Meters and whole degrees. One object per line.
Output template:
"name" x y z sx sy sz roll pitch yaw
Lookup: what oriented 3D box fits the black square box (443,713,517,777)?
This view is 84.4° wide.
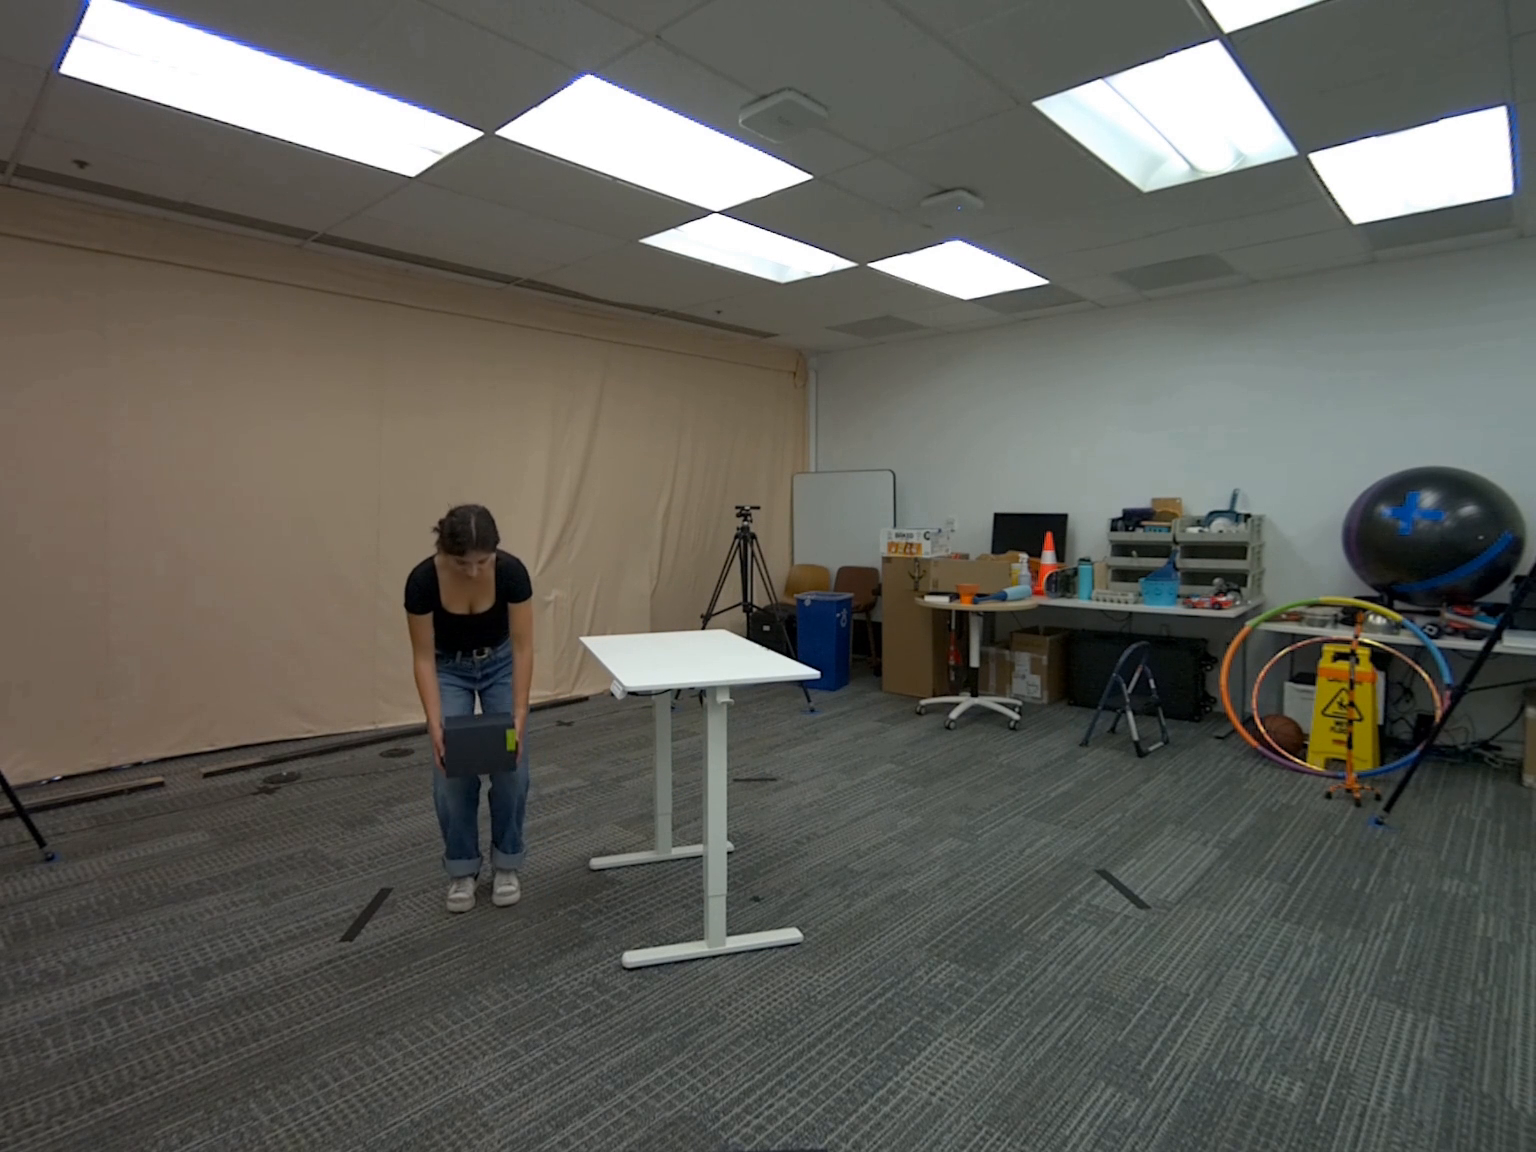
"black square box" -0.938 0.549 2.748 0.213 0.156 0.232 -3 0 -17
